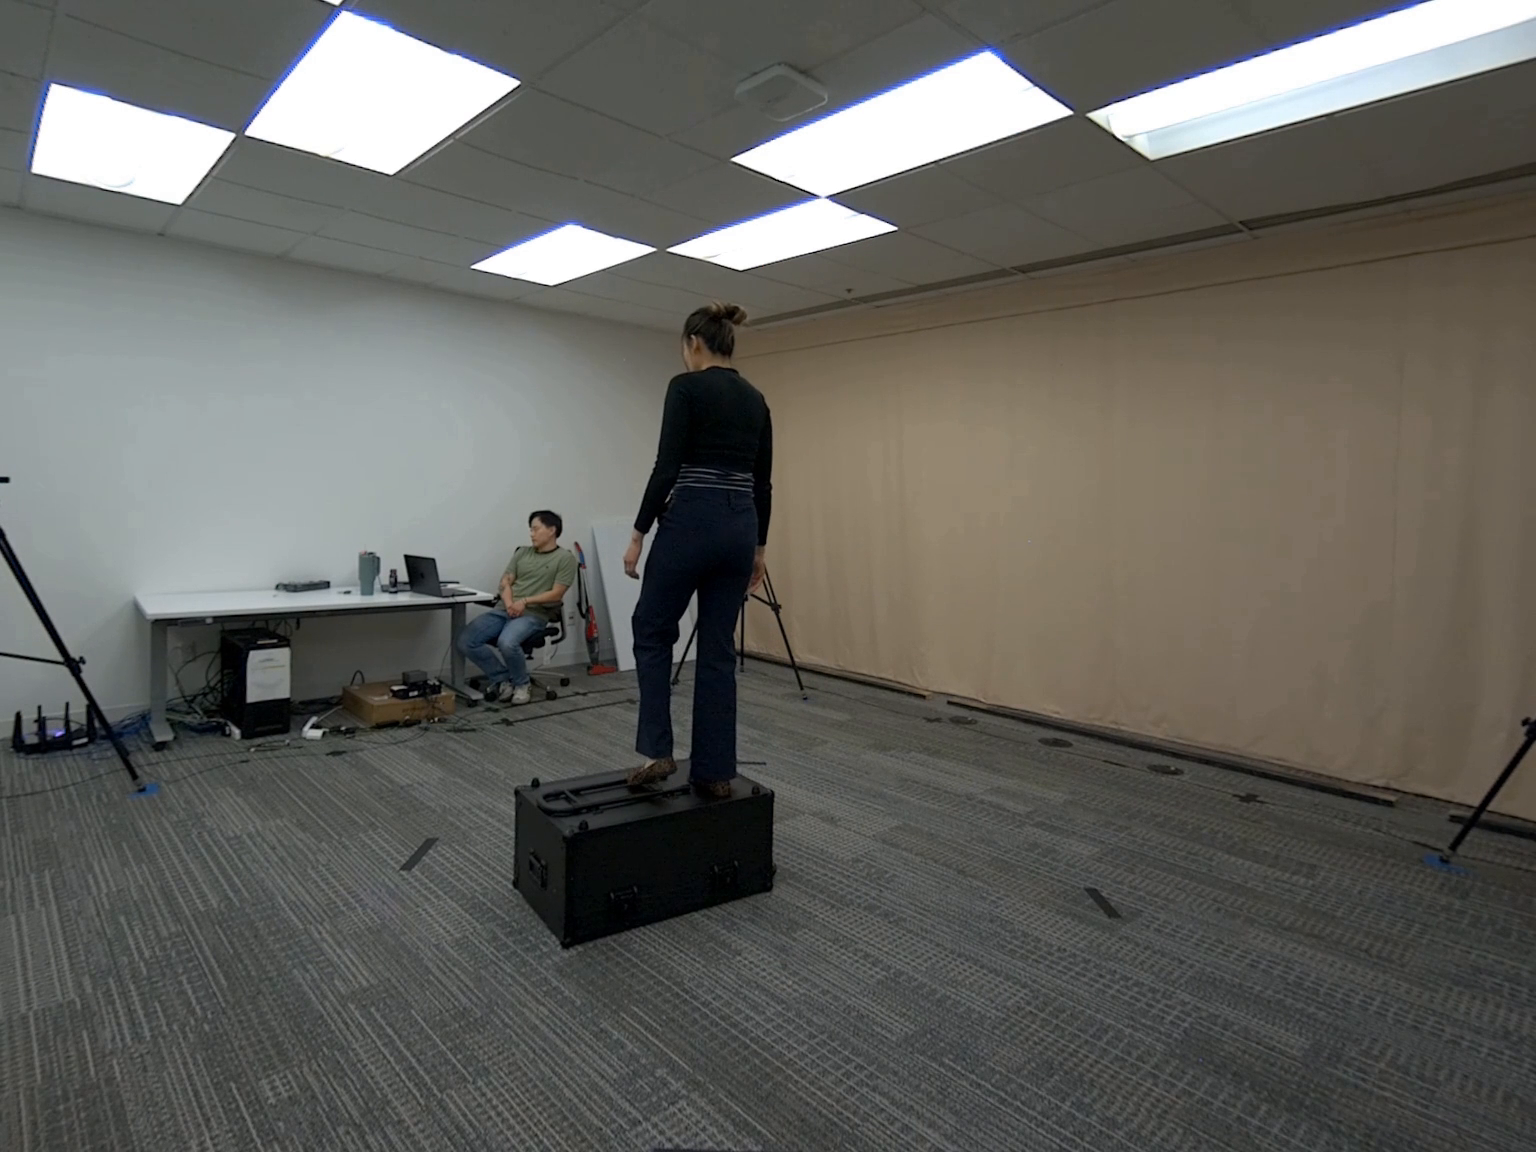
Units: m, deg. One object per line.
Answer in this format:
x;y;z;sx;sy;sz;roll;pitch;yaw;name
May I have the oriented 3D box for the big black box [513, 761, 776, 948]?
-0.465;0.938;2.947;0.843;0.395;0.534;-2;6;-34;big black box
